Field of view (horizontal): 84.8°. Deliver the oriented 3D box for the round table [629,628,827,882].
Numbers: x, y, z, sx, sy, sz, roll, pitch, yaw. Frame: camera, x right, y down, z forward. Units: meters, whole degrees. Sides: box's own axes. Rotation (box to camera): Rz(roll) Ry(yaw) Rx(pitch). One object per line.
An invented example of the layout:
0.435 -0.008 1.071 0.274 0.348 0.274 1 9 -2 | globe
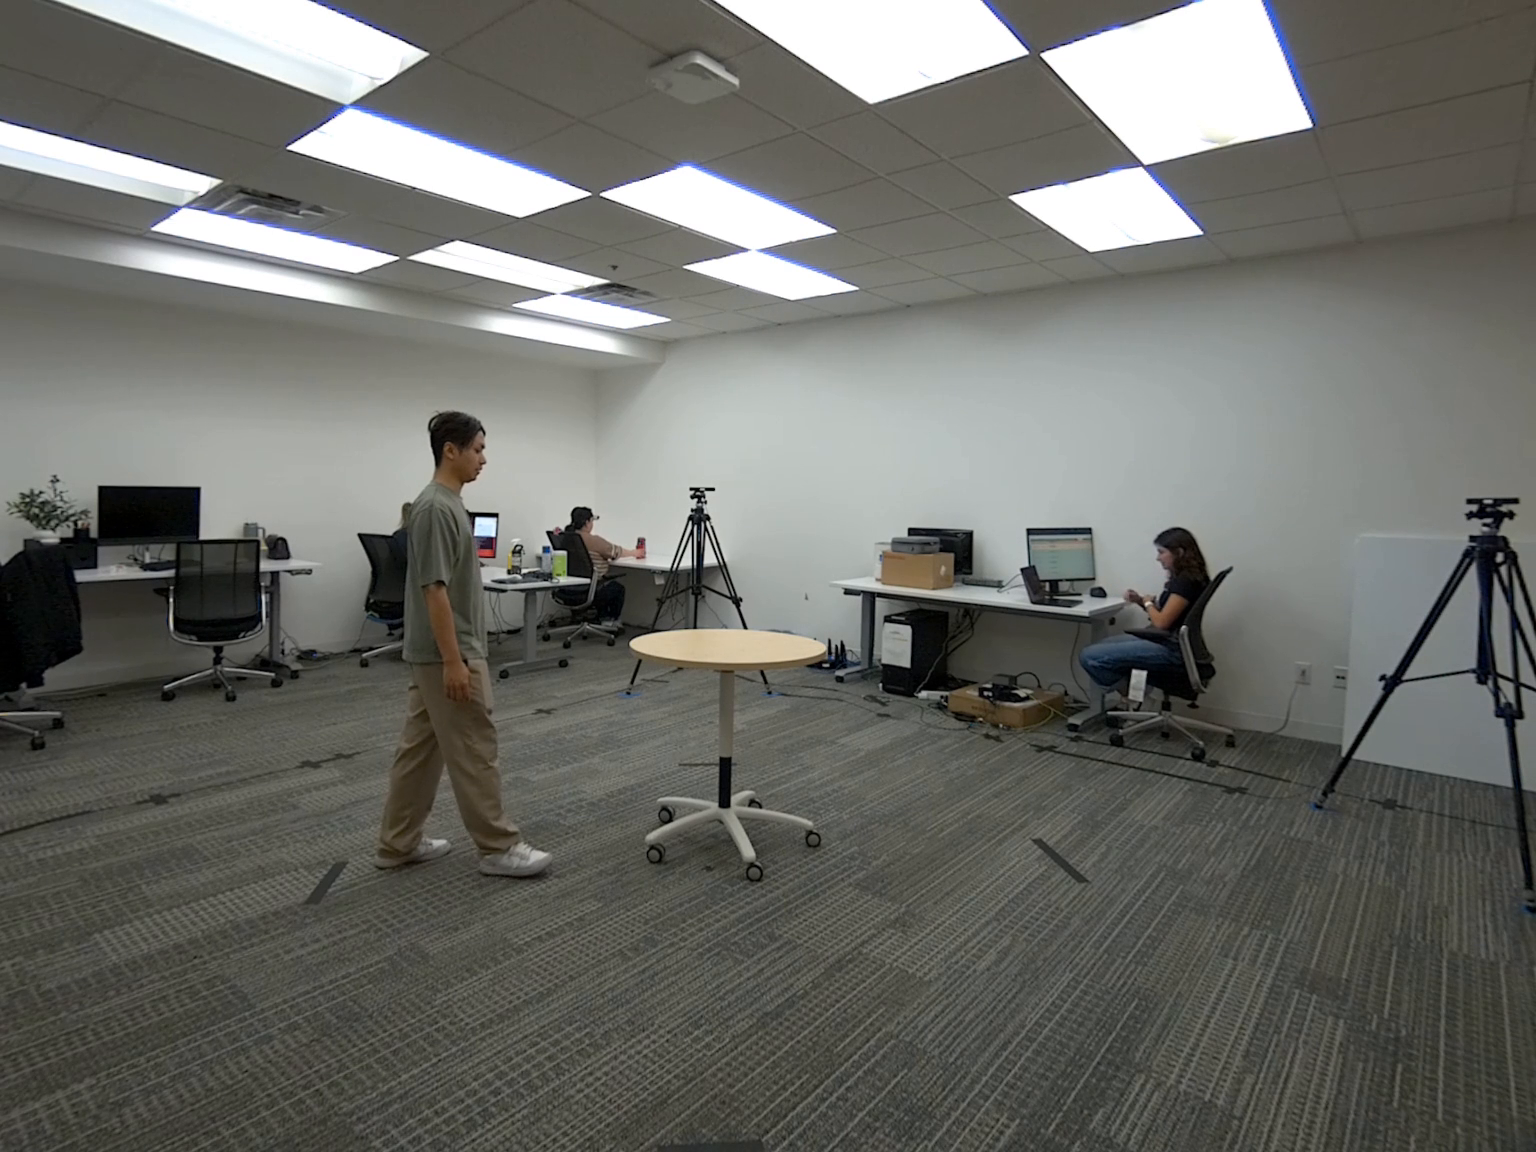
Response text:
-0.161 0.654 3.342 0.784 0.784 0.789 1 4 -2 | round table
